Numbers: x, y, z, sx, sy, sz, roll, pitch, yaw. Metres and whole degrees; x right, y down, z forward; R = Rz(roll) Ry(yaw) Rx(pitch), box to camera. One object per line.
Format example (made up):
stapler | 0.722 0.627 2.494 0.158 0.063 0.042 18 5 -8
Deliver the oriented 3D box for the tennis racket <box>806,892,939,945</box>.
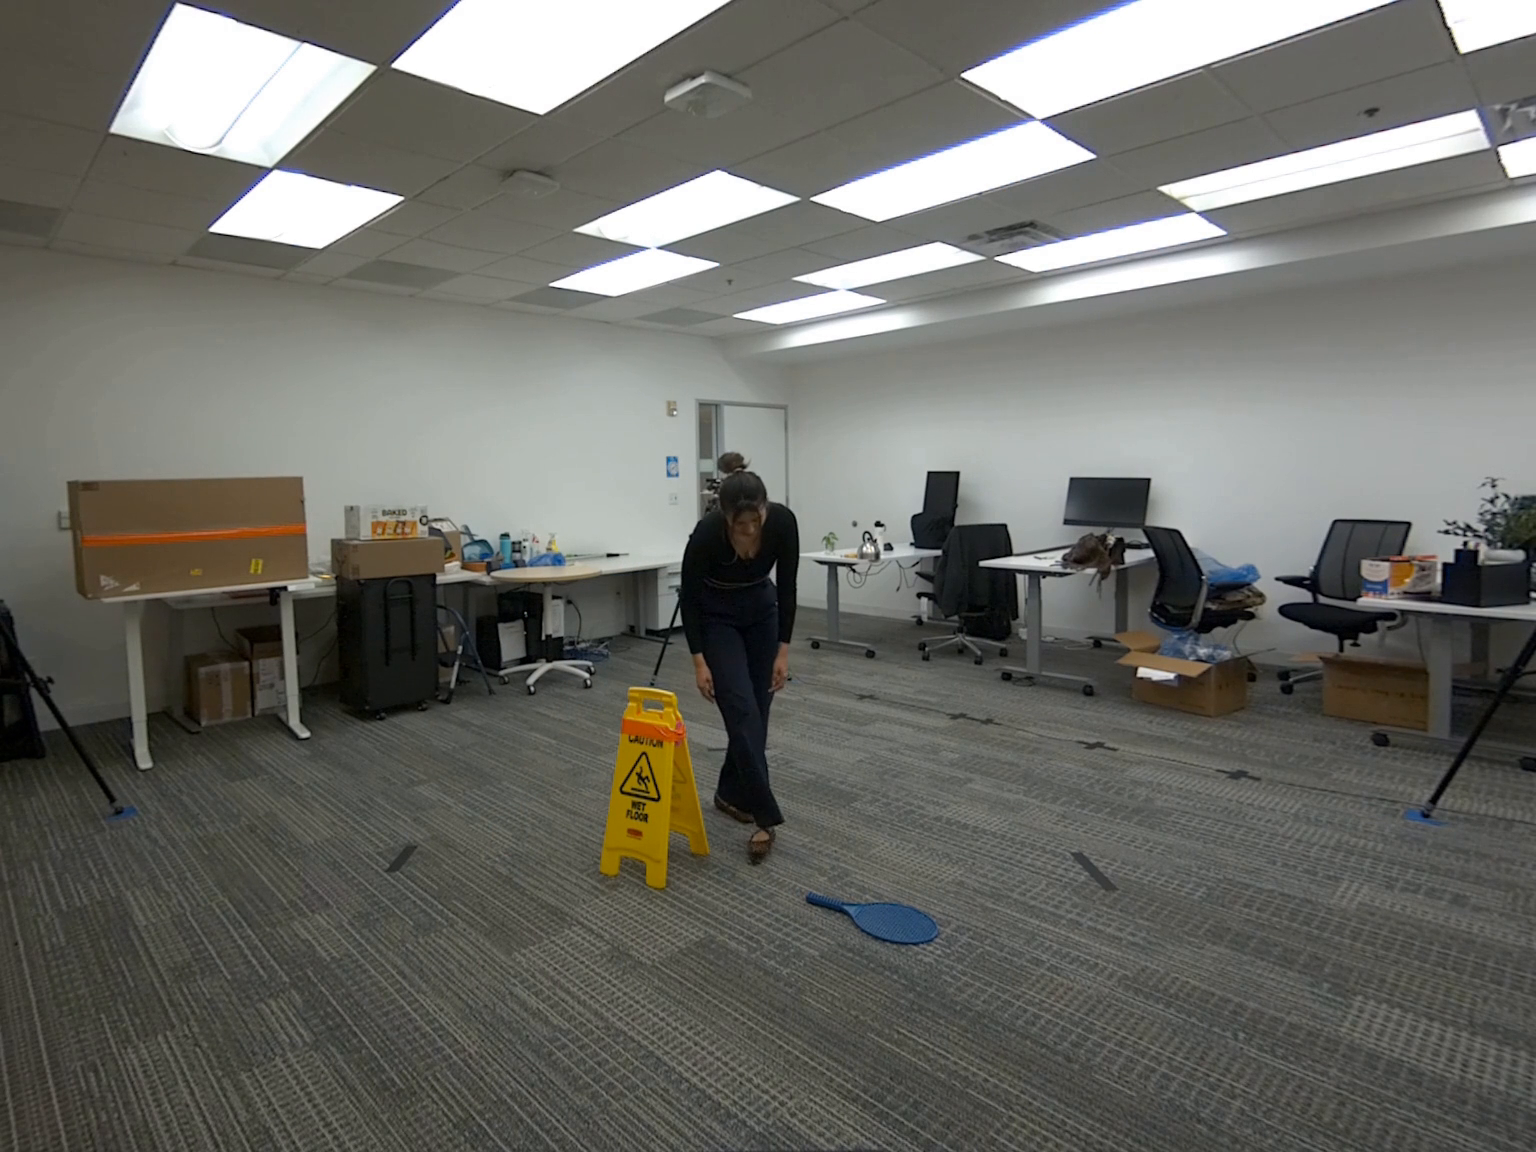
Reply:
tennis racket | 0.327 1.073 2.698 0.444 0.031 0.209 4 8 29
